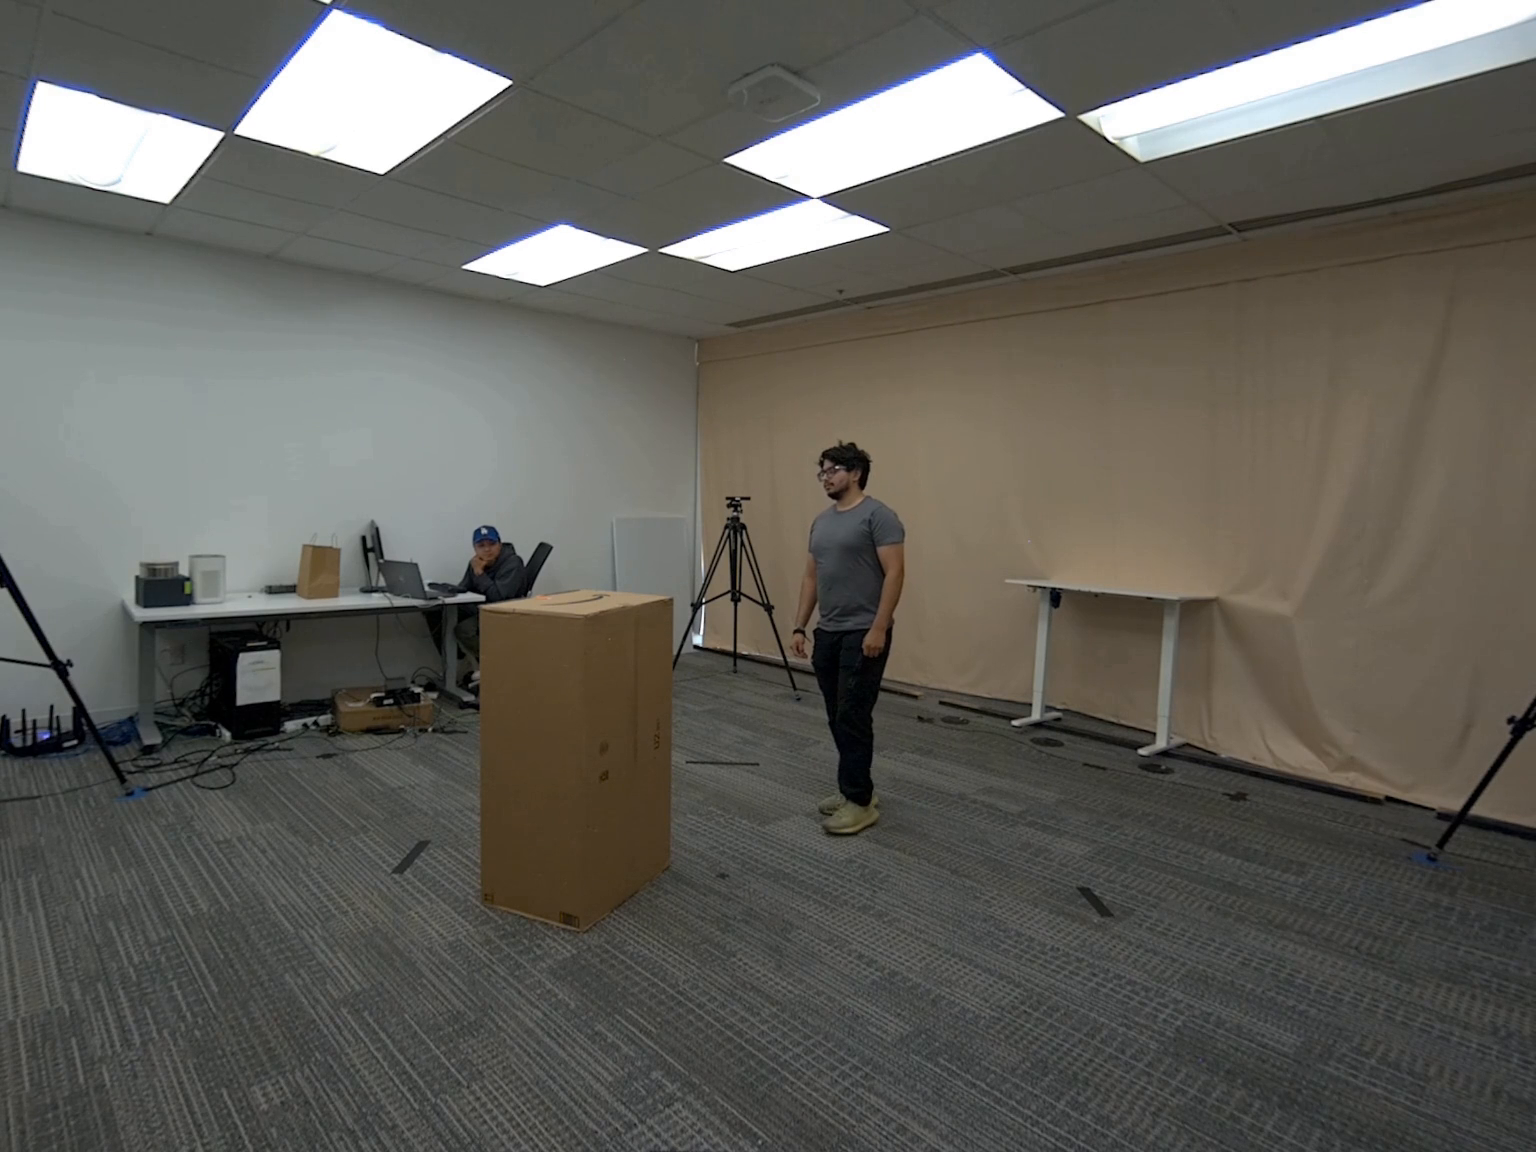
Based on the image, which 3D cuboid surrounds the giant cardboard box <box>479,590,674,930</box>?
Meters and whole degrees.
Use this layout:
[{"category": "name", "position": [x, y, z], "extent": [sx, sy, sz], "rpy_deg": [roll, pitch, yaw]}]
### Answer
[{"category": "giant cardboard box", "position": [-0.670, 0.597, 2.986], "extent": [0.434, 1.023, 0.568], "rpy_deg": [3, 4, 25]}]
